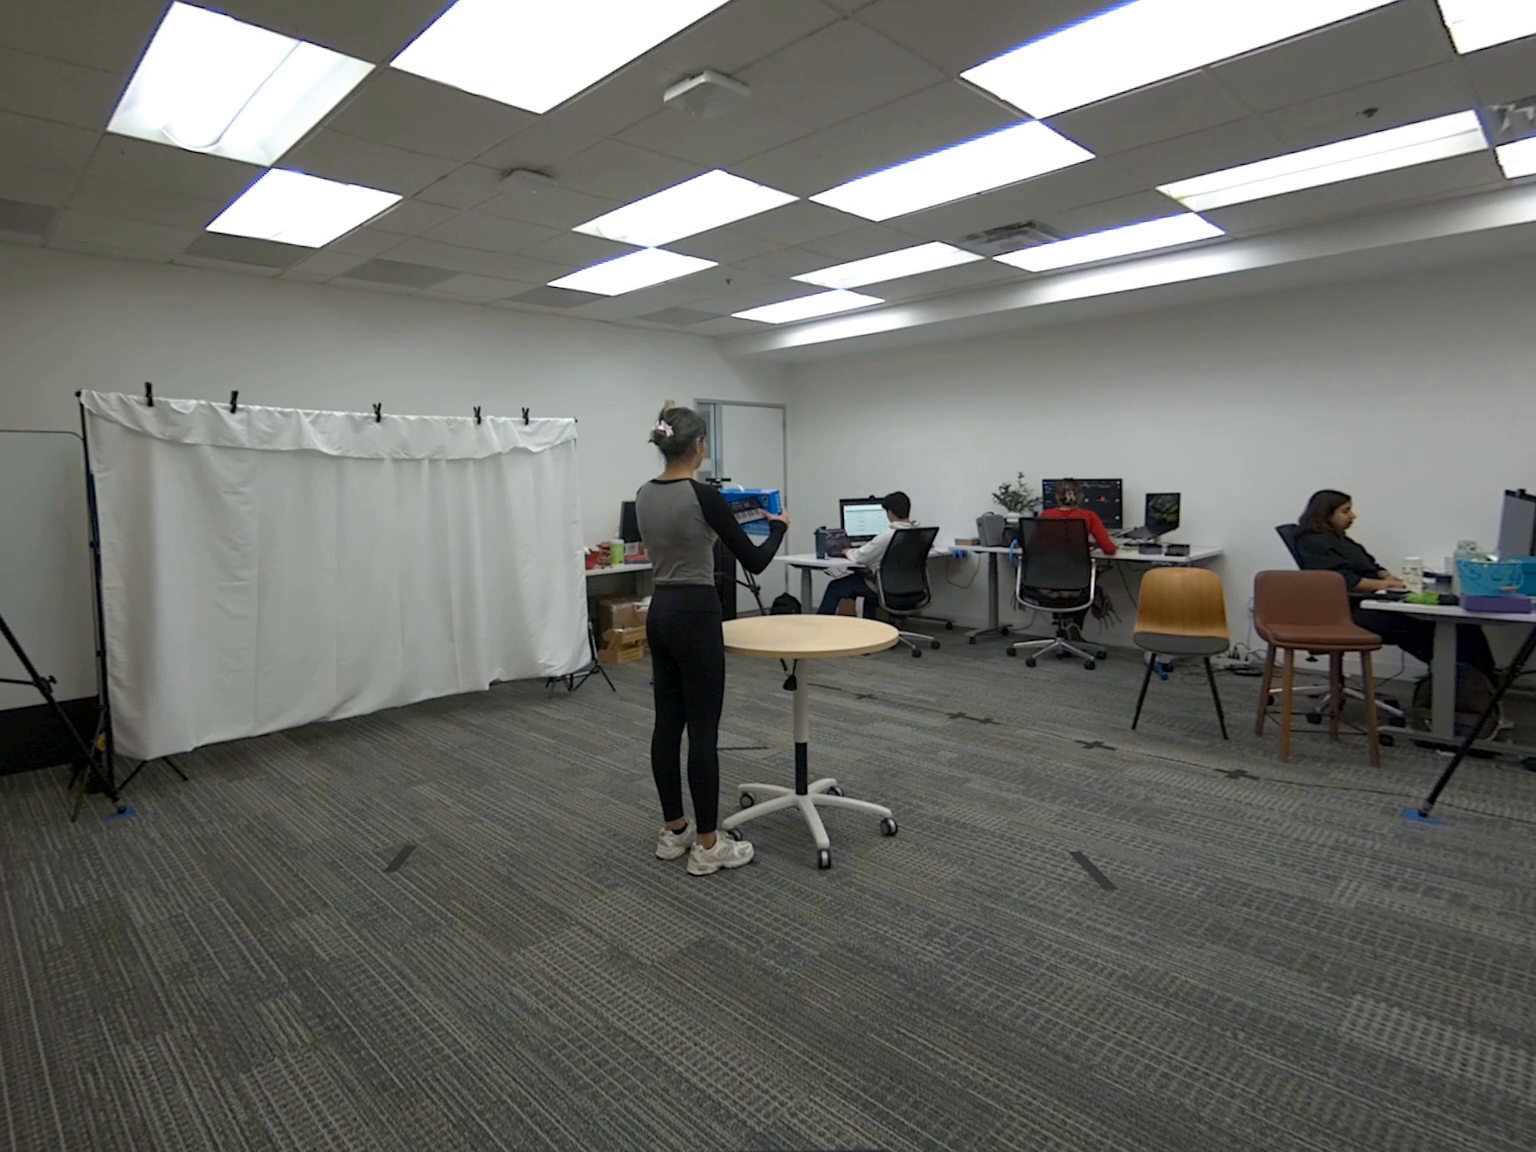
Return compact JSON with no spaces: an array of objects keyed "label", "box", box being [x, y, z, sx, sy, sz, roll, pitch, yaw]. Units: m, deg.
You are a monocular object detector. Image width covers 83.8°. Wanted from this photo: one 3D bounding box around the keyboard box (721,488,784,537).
[{"label":"keyboard box","box":[-0.131,-0.257,3.430,0.450,0.173,0.058,5,18,40]}]
